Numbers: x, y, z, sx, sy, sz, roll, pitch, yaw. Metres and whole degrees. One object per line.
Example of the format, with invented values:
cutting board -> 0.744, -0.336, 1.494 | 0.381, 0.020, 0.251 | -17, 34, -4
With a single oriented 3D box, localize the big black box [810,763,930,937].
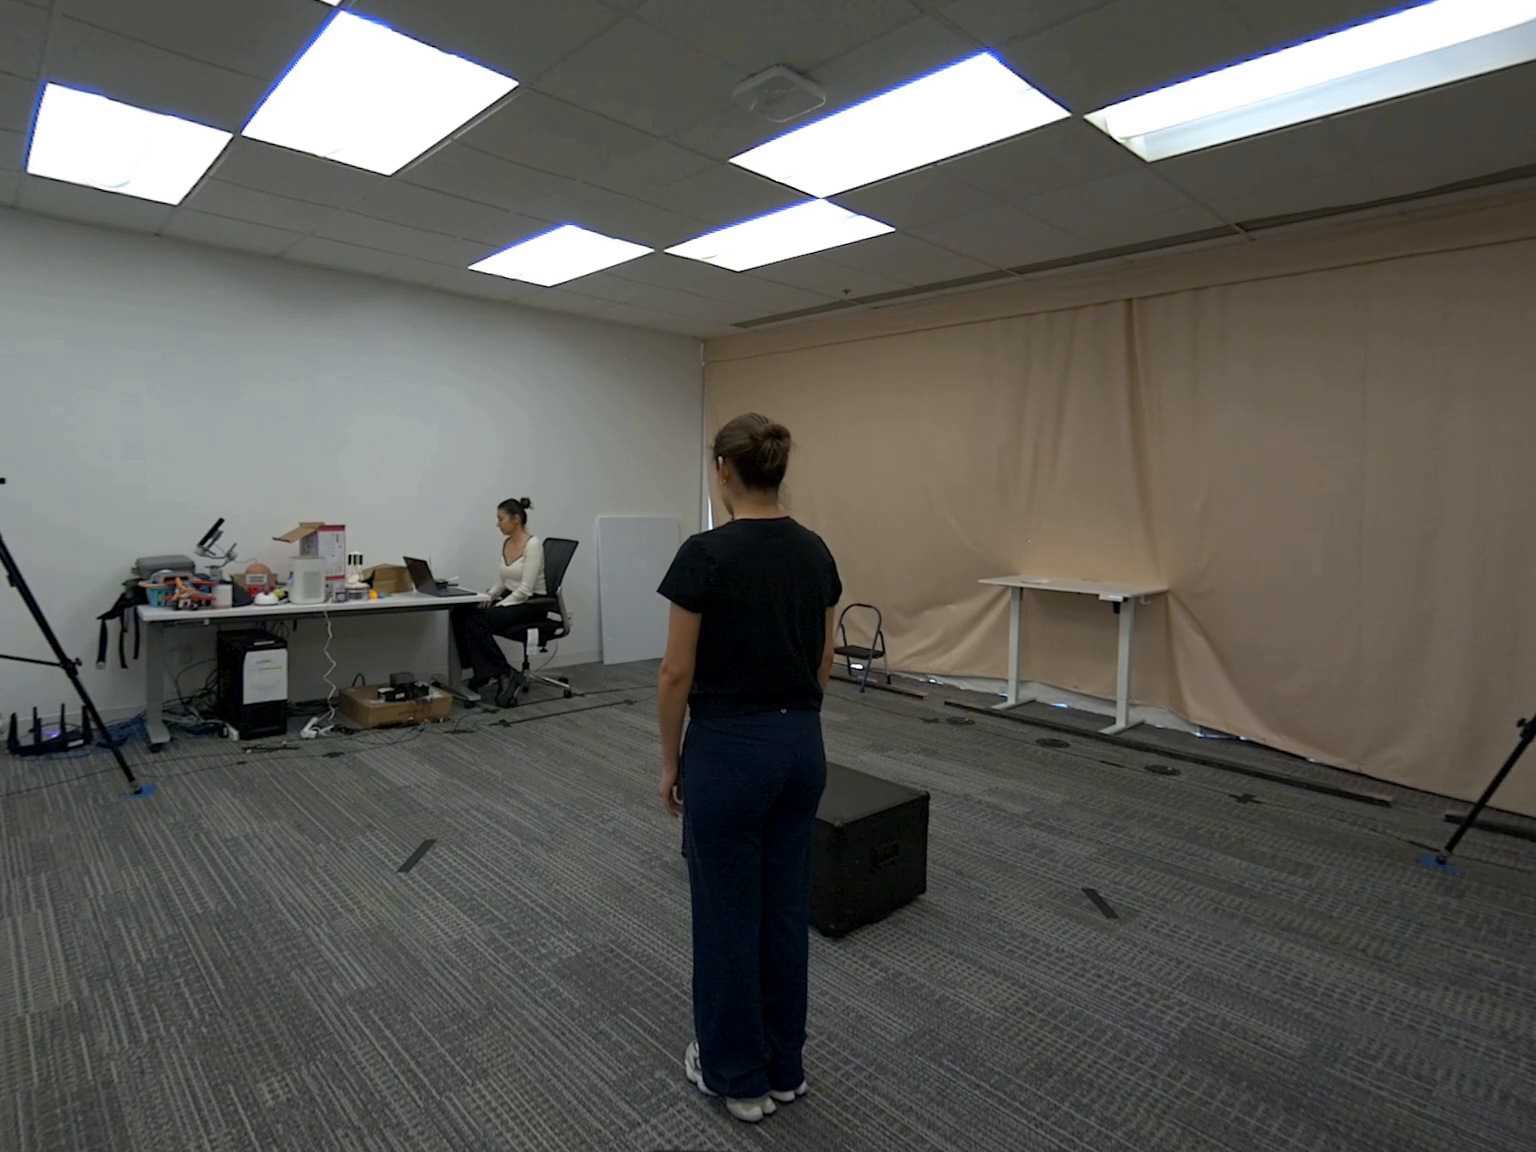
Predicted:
big black box -> 0.095, 0.922, 3.086 | 0.509, 0.395, 0.884 | -2, 6, -44
